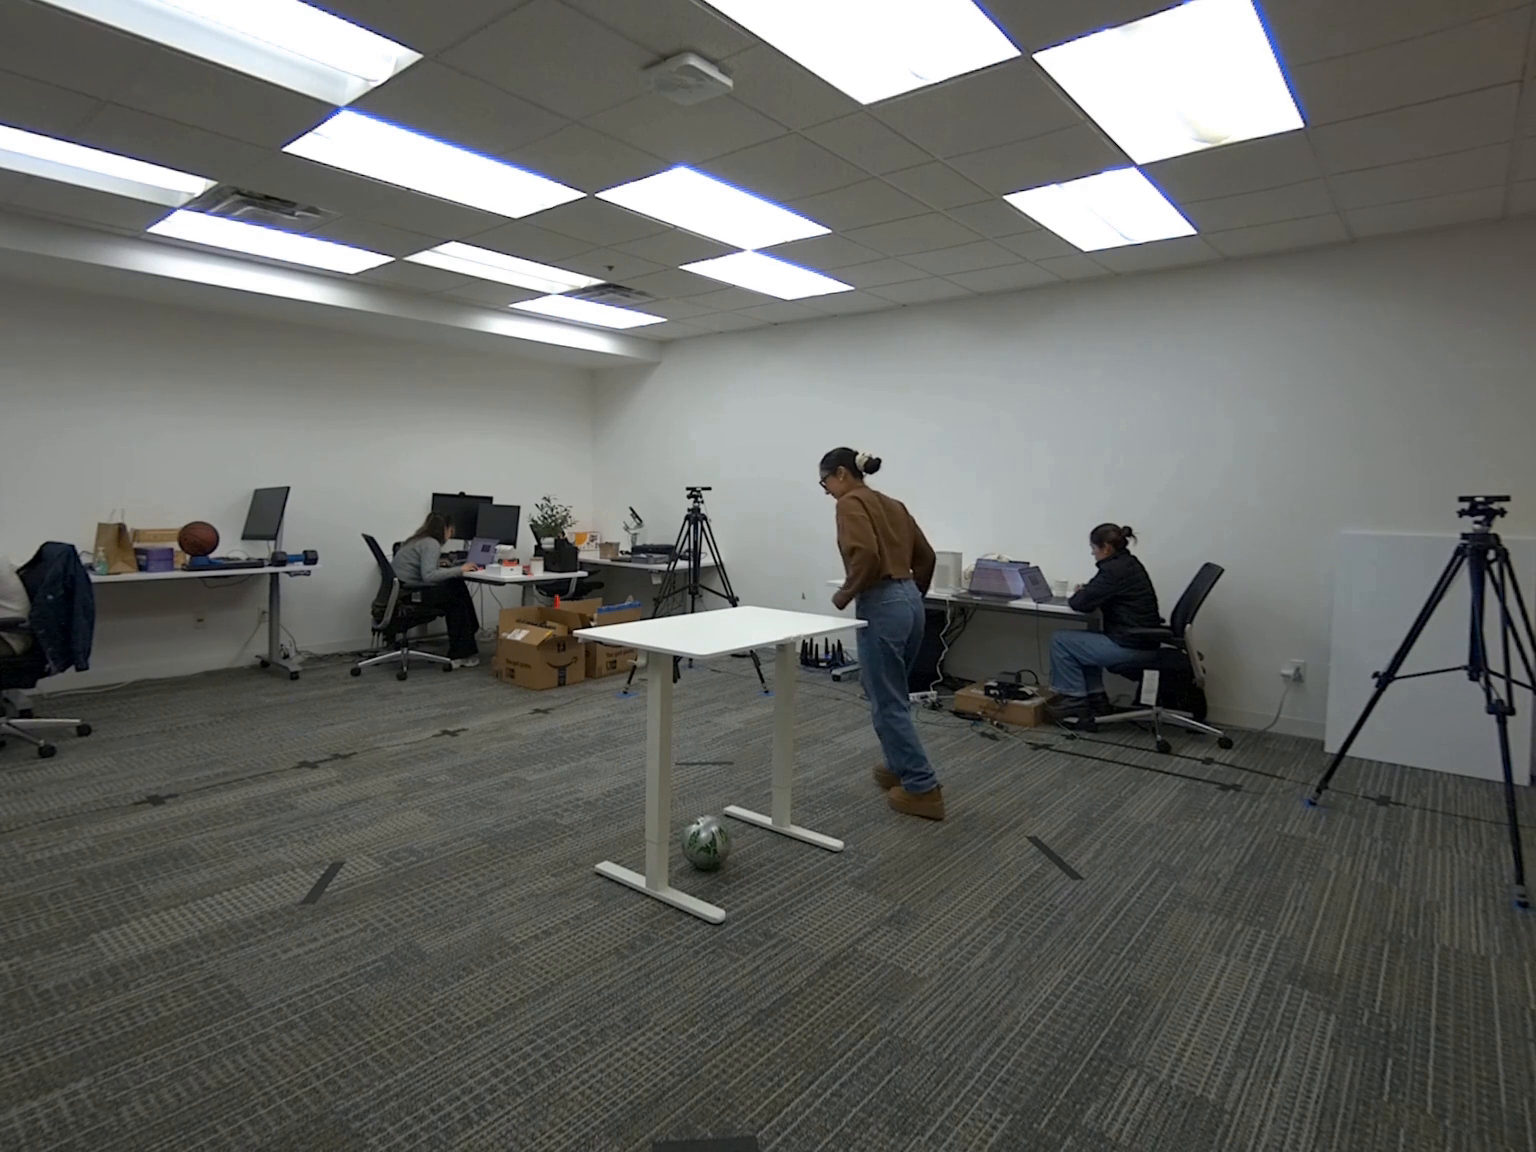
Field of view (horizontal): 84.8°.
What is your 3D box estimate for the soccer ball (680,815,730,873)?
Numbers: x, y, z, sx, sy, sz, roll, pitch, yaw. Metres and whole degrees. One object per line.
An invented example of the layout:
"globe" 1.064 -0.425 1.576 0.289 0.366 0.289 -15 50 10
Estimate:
"soccer ball" -0.234 0.970 3.112 0.187 0.187 0.188 1 4 -2
